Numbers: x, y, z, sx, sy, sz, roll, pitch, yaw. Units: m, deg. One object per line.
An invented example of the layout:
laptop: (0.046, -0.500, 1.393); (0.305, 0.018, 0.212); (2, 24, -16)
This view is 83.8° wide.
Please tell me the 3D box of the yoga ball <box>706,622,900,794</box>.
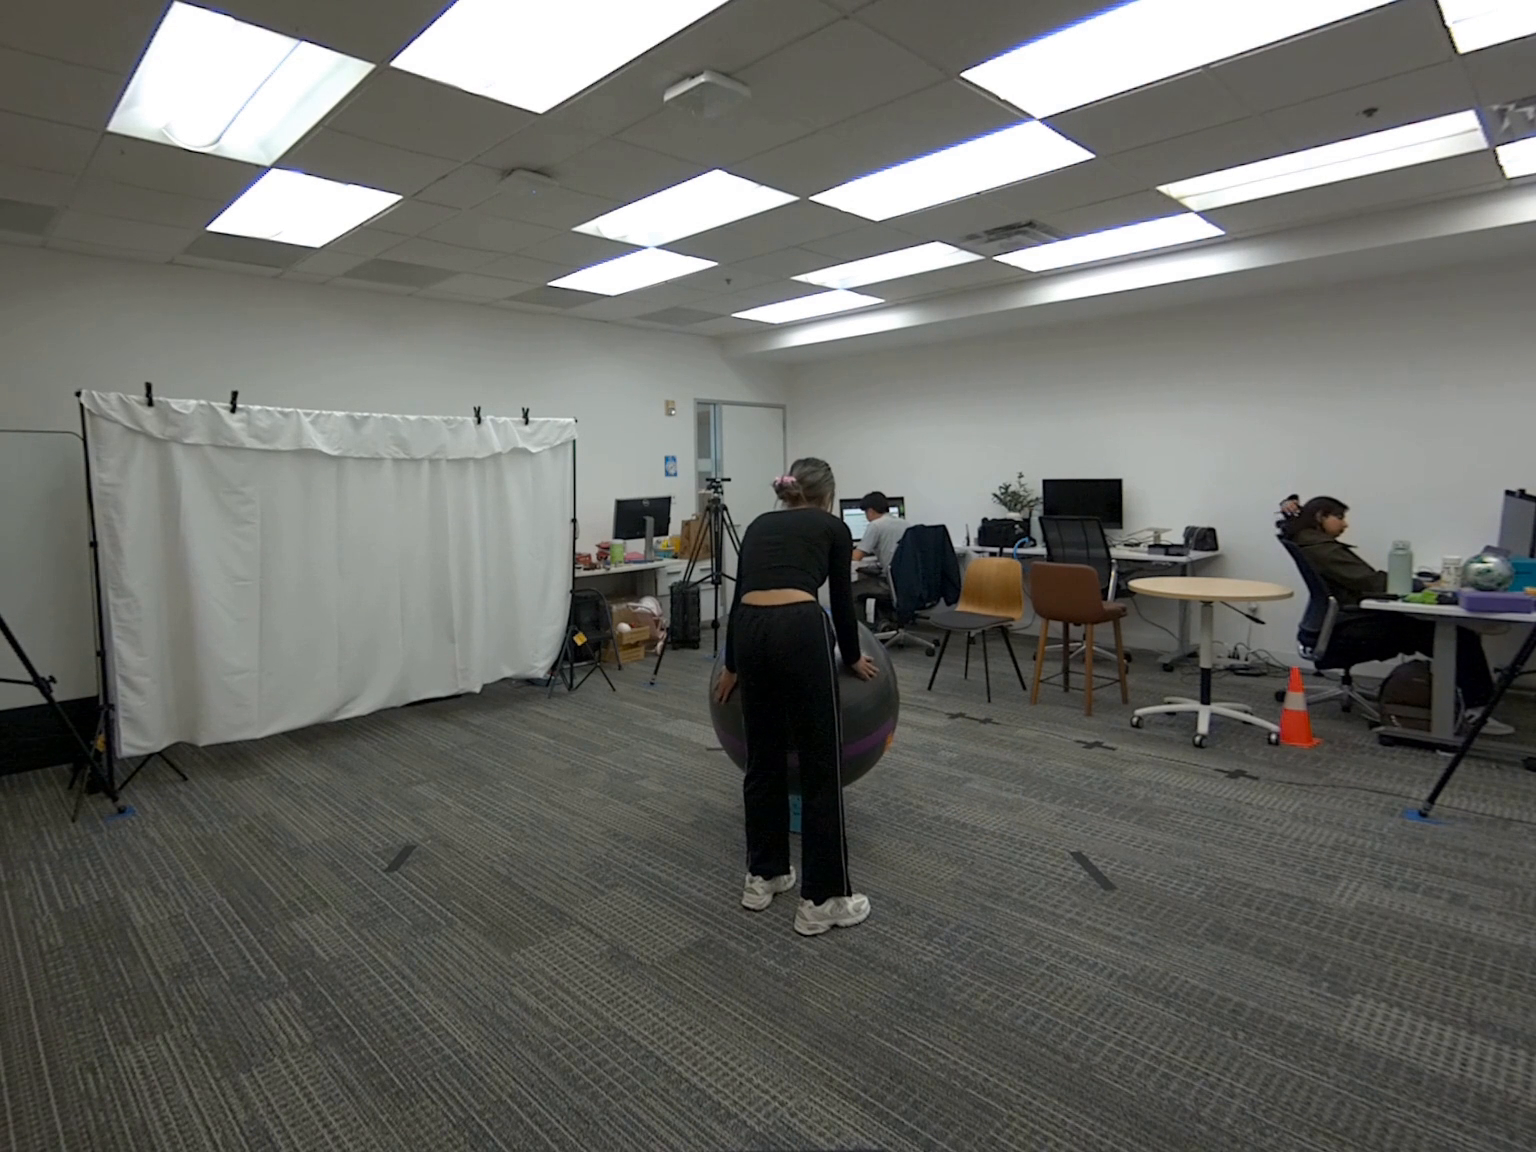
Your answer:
yoga ball: (0.141, 0.489, 3.426); (0.757, 0.755, 0.762); (-1, 5, -2)
